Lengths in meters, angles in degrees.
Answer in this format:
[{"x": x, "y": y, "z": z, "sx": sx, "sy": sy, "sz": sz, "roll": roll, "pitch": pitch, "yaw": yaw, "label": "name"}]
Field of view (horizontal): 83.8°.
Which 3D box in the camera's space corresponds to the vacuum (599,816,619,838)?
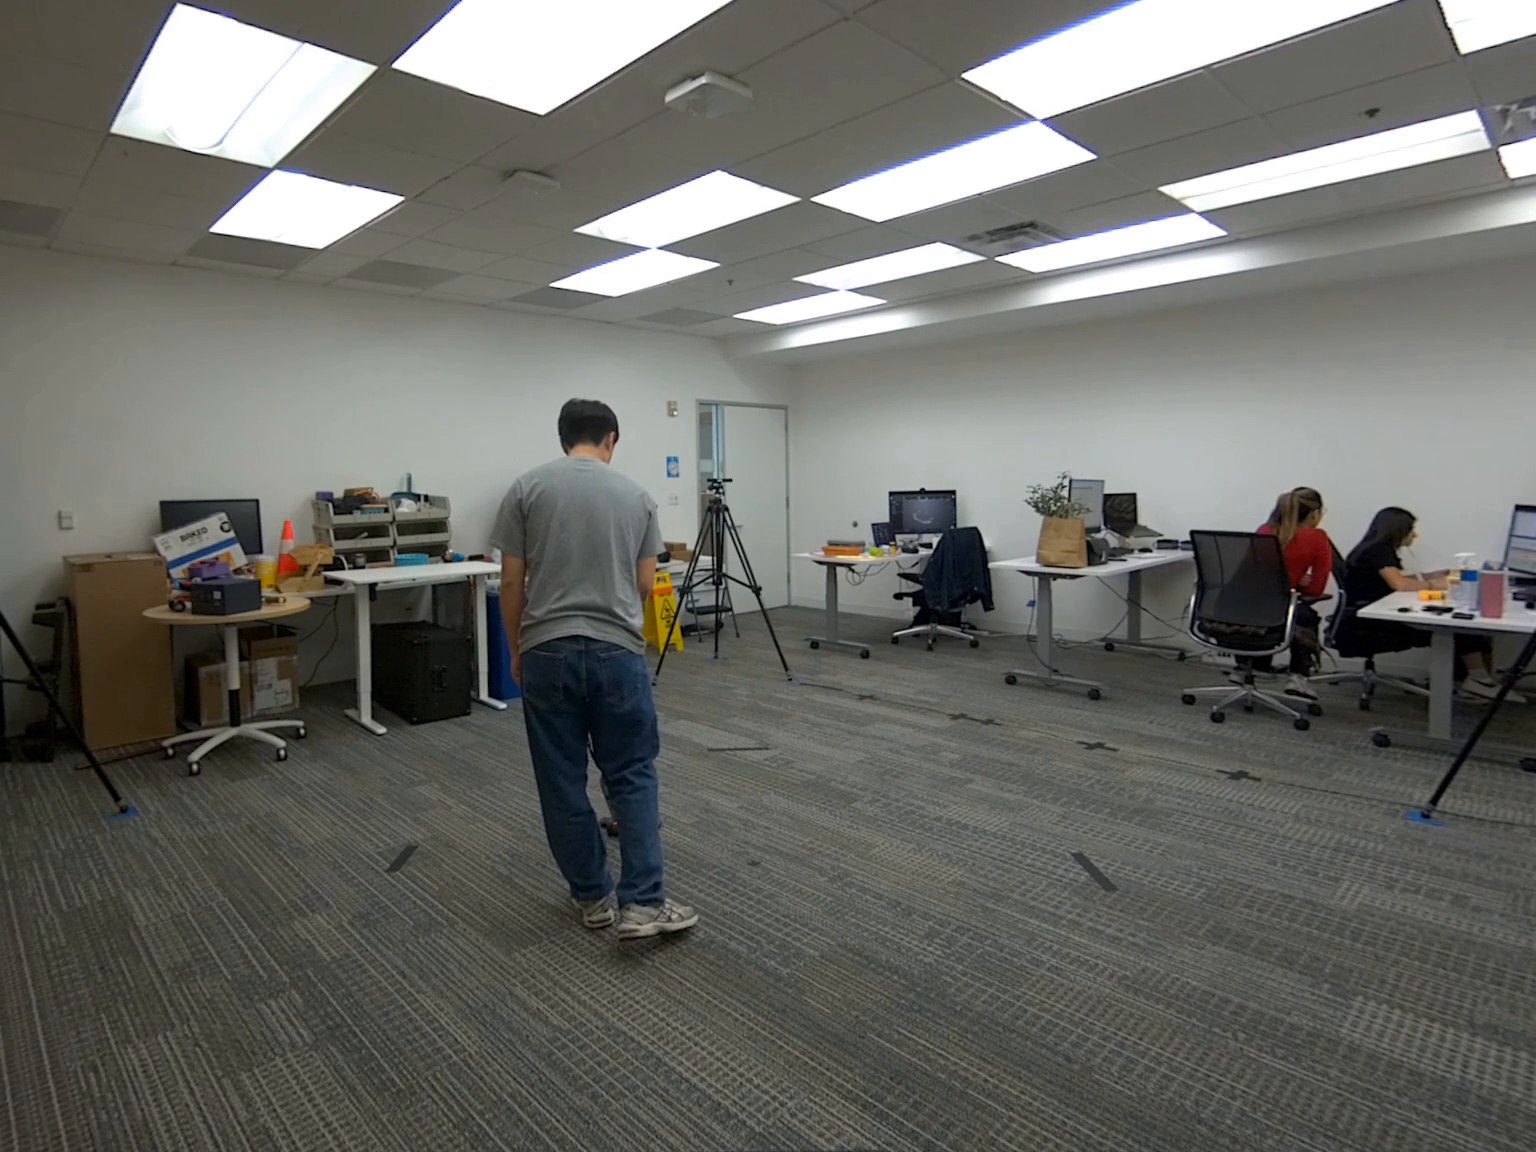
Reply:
[{"x": -0.594, "y": 0.604, "z": 3.142, "sx": 0.254, "sy": 1.019, "sz": 0.147, "roll": 0, "pitch": 36, "yaw": 7, "label": "vacuum"}]
